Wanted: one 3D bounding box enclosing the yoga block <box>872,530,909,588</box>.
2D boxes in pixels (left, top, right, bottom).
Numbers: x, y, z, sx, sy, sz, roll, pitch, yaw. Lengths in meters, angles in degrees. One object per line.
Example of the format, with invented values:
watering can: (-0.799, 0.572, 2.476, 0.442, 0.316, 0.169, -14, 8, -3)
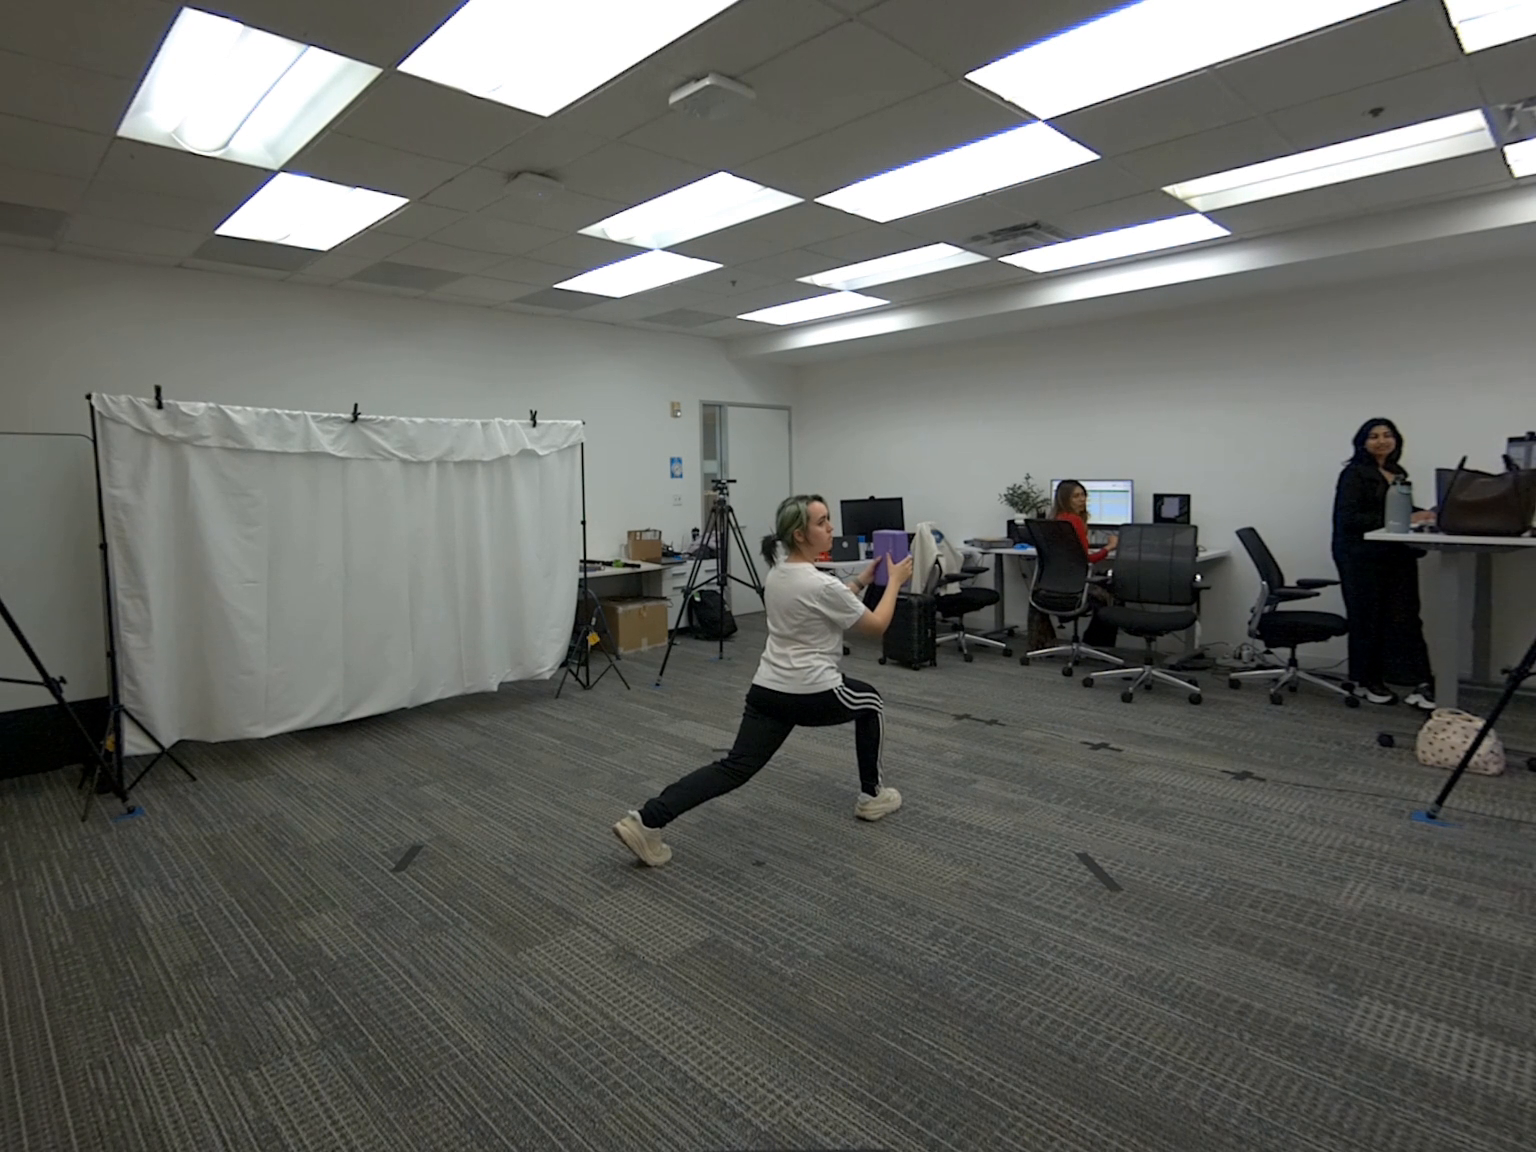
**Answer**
yoga block: (0.517, -0.071, 3.574, 0.075, 0.228, 0.153, -4, 6, -31)
